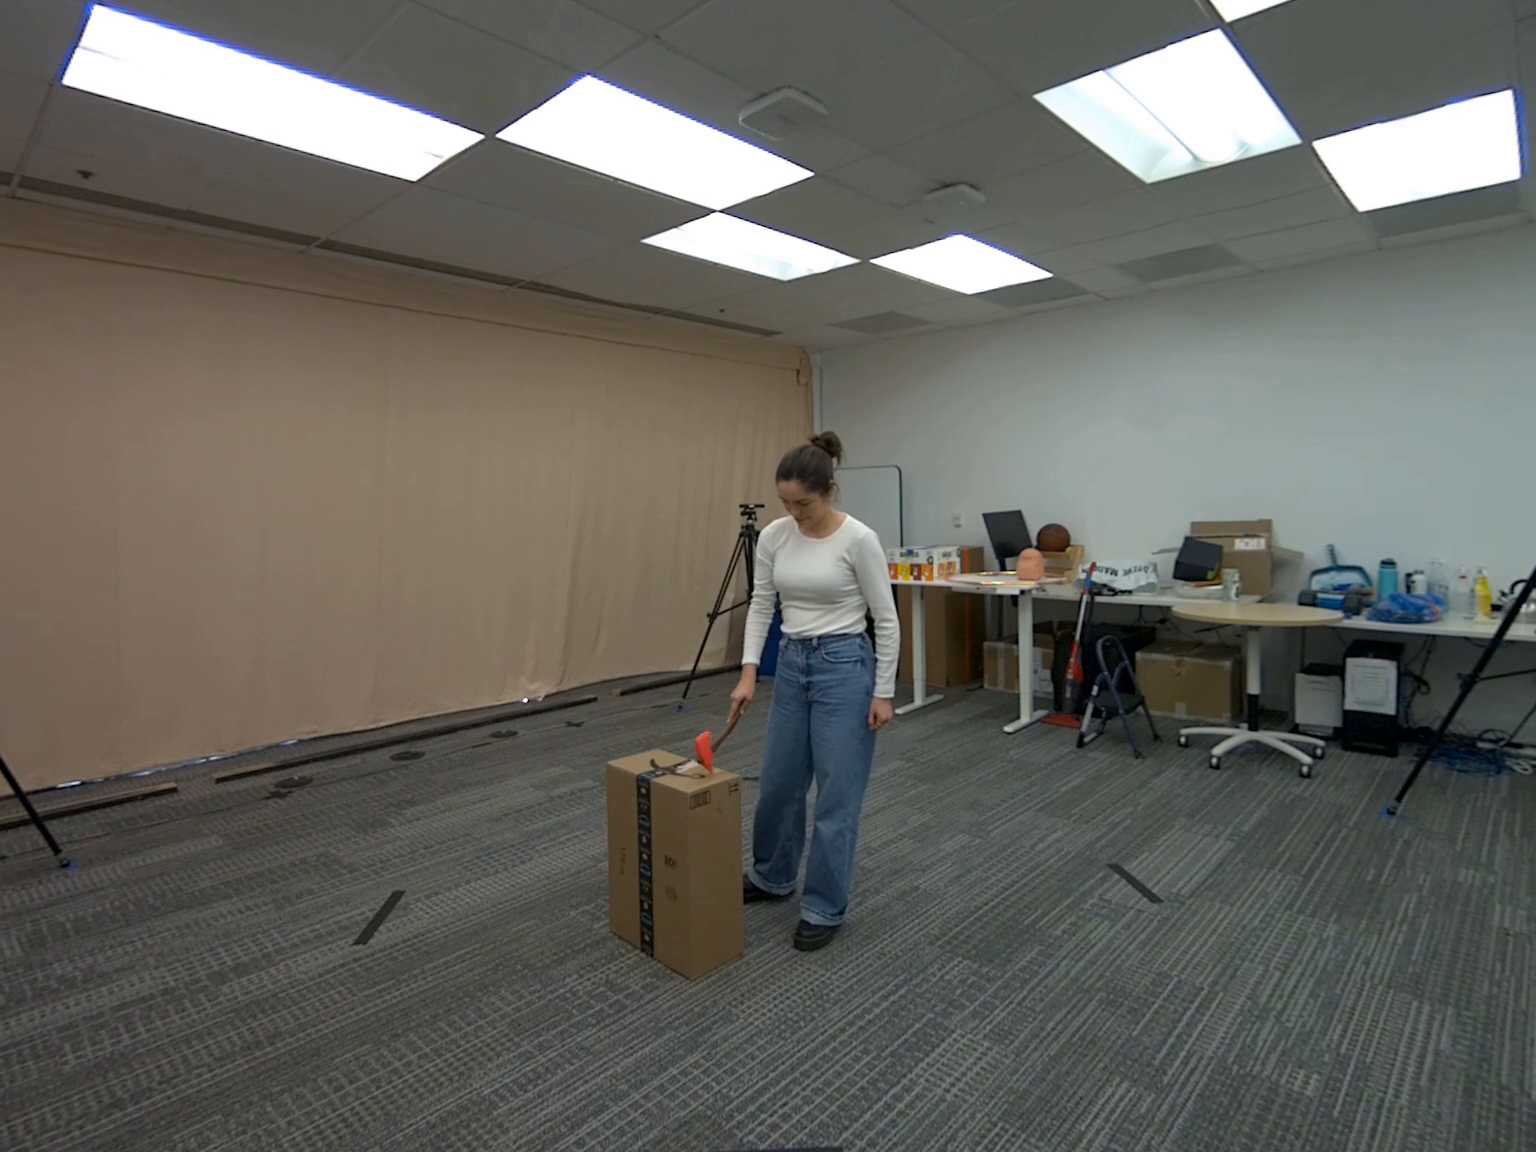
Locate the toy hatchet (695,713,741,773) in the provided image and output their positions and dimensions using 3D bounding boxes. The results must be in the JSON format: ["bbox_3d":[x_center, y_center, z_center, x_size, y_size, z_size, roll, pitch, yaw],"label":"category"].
[{"bbox_3d":[-0.151,0.478,2.624,0.030,0.270,0.127,2,-40,43],"label":"toy hatchet"}]
